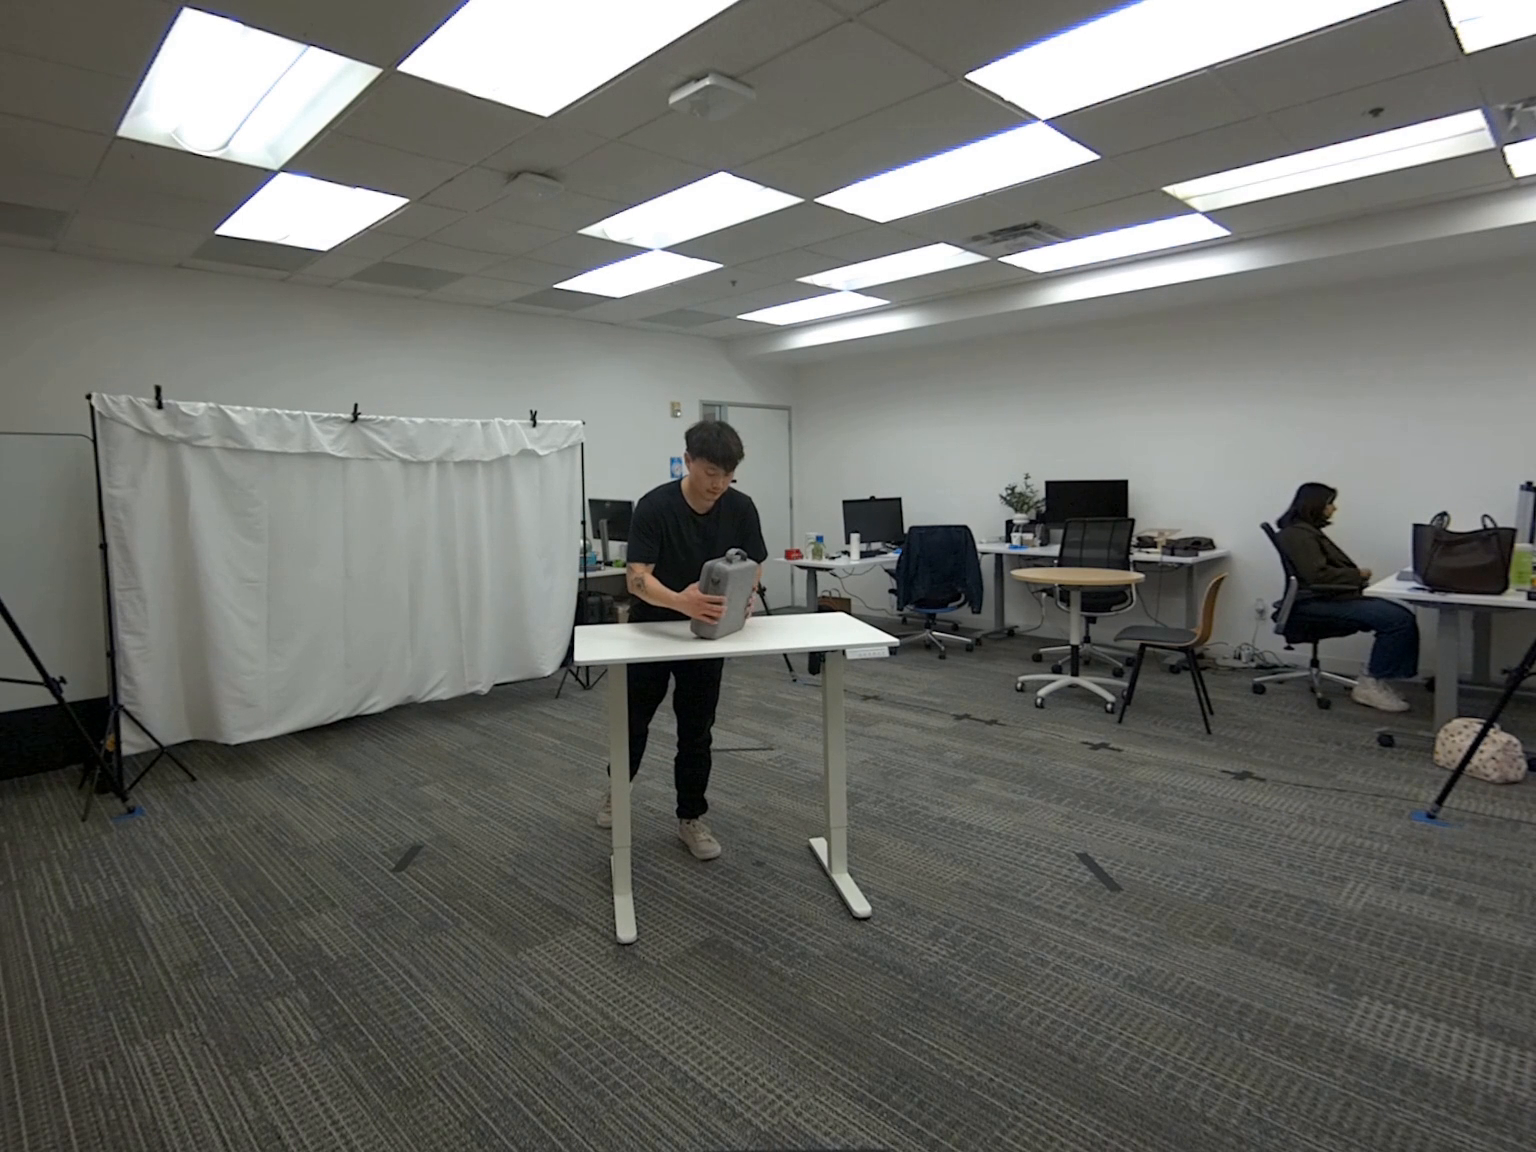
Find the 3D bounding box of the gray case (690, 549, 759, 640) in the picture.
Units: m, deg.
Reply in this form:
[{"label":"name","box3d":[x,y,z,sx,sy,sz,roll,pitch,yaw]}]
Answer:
[{"label":"gray case","box3d":[-0.143,0.067,2.853,0.107,0.258,0.253,15,12,19]}]
